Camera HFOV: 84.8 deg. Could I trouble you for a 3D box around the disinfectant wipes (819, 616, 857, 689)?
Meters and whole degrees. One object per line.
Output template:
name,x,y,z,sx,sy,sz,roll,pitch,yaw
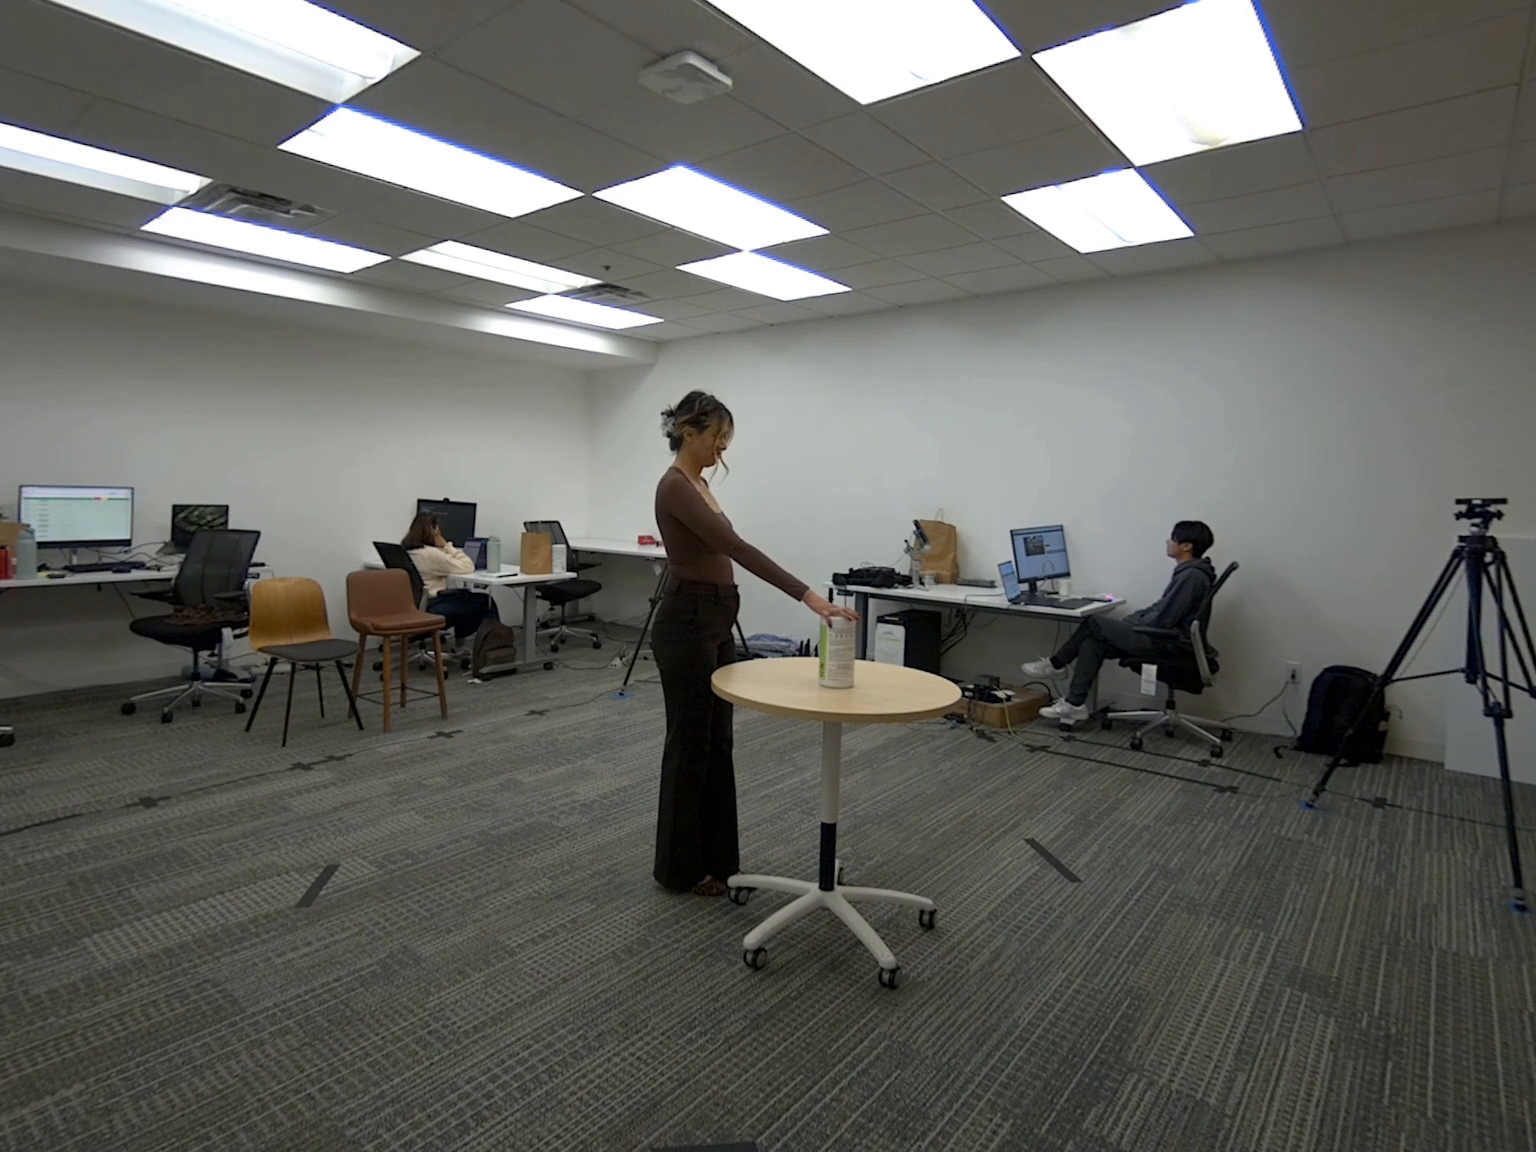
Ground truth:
disinfectant wipes,0.207,0.226,2.599,0.118,0.217,0.118,-1,2,-2
